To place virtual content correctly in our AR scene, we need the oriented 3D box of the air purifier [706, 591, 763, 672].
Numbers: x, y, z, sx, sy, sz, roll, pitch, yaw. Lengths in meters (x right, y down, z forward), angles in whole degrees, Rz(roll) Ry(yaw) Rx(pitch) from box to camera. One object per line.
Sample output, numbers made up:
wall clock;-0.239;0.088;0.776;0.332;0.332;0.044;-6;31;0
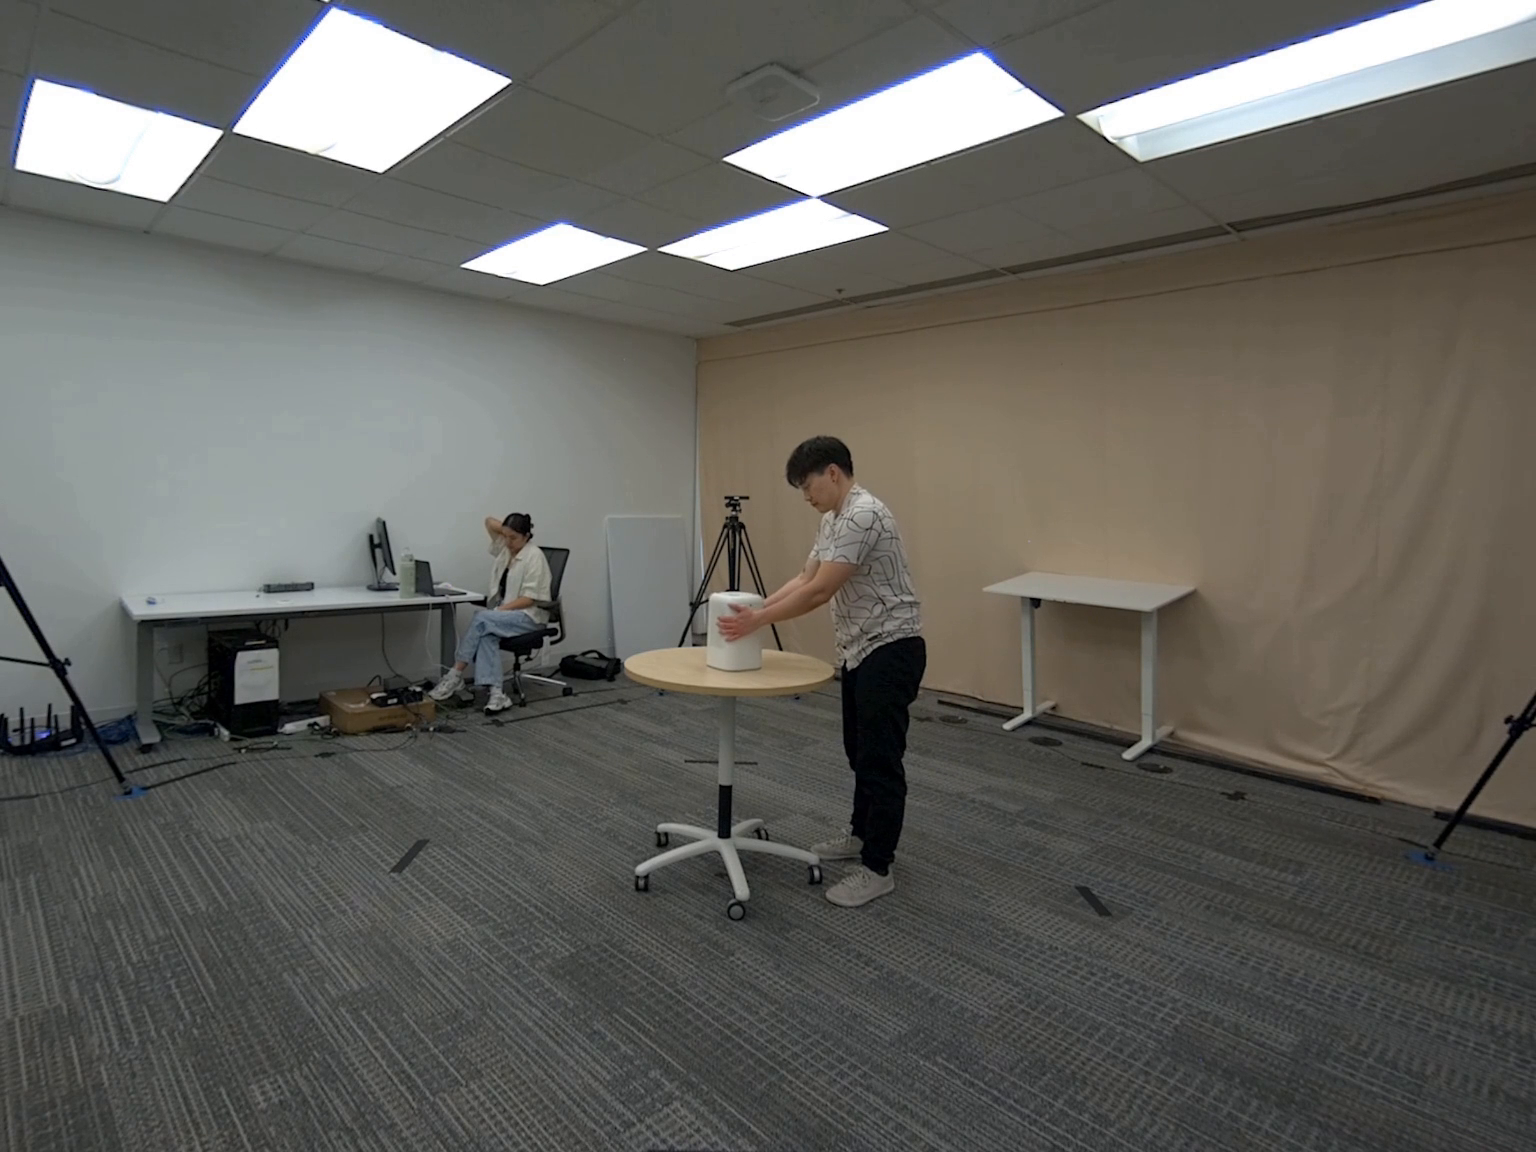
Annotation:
air purifier;-0.121;0.195;3.041;0.167;0.265;0.176;-1;4;-37
